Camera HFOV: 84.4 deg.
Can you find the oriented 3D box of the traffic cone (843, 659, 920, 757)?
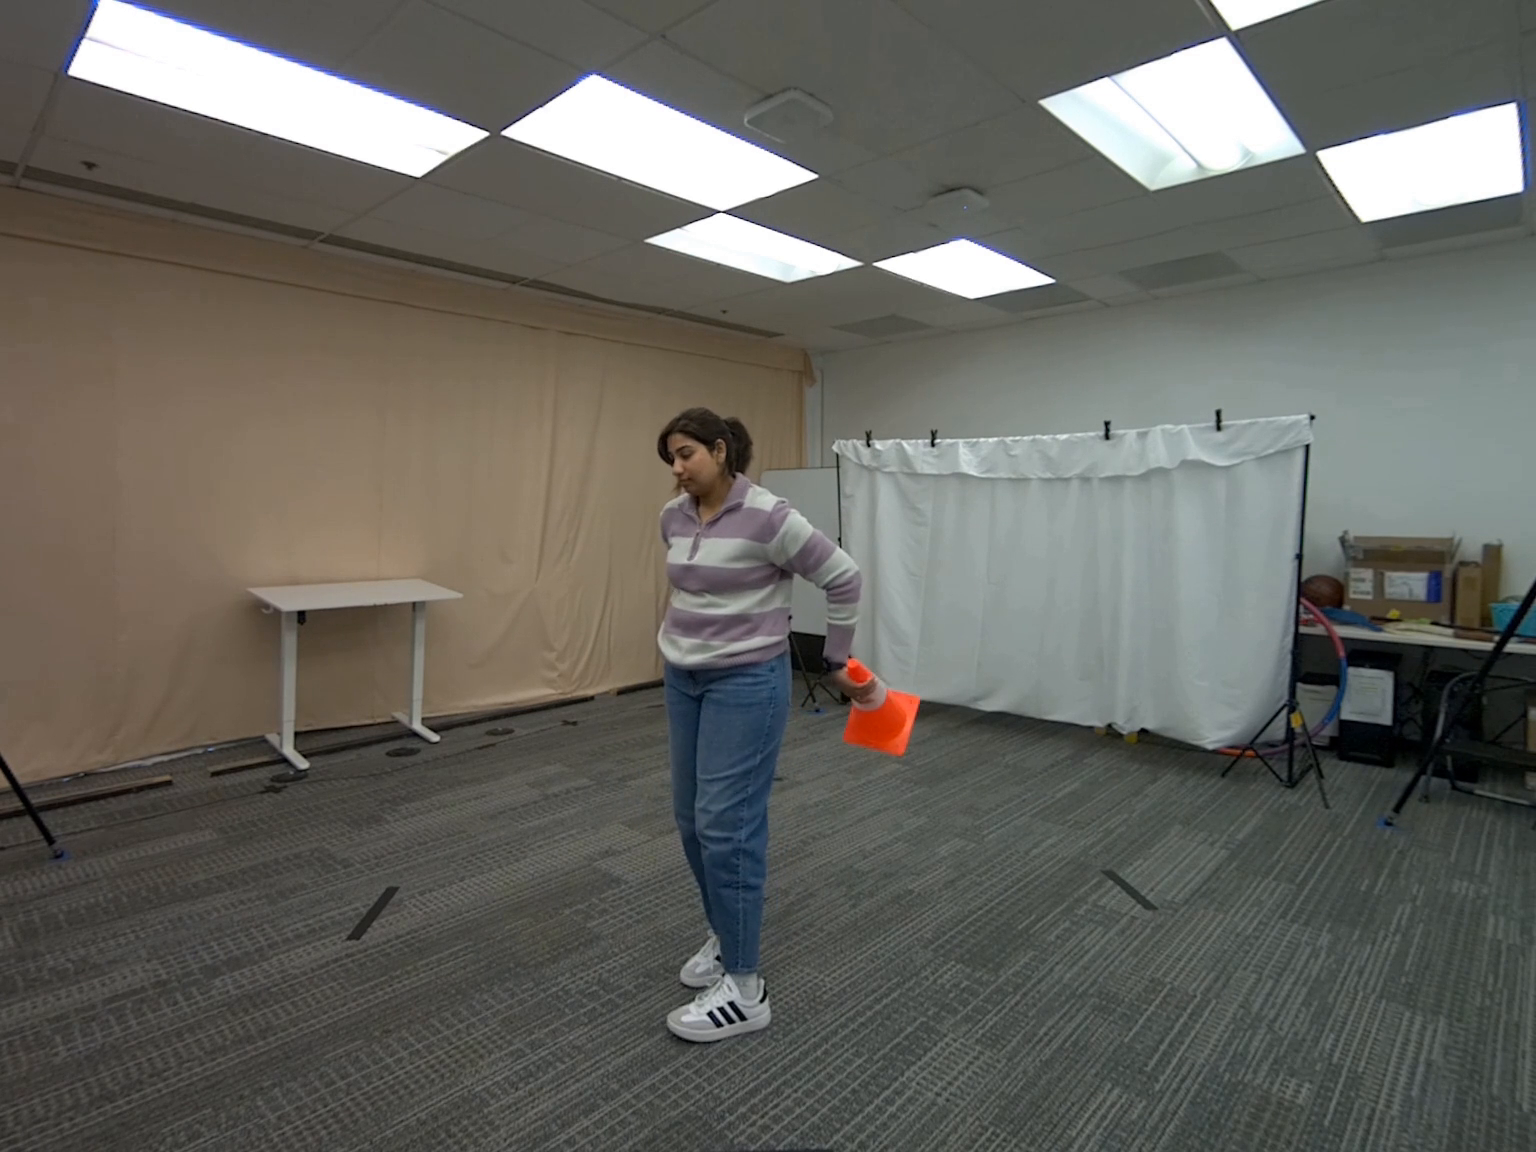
[{"bbox_3d":[0.286,0.340,2.437,0.210,0.205,0.372,16,-28,29],"label":"traffic cone"}]
